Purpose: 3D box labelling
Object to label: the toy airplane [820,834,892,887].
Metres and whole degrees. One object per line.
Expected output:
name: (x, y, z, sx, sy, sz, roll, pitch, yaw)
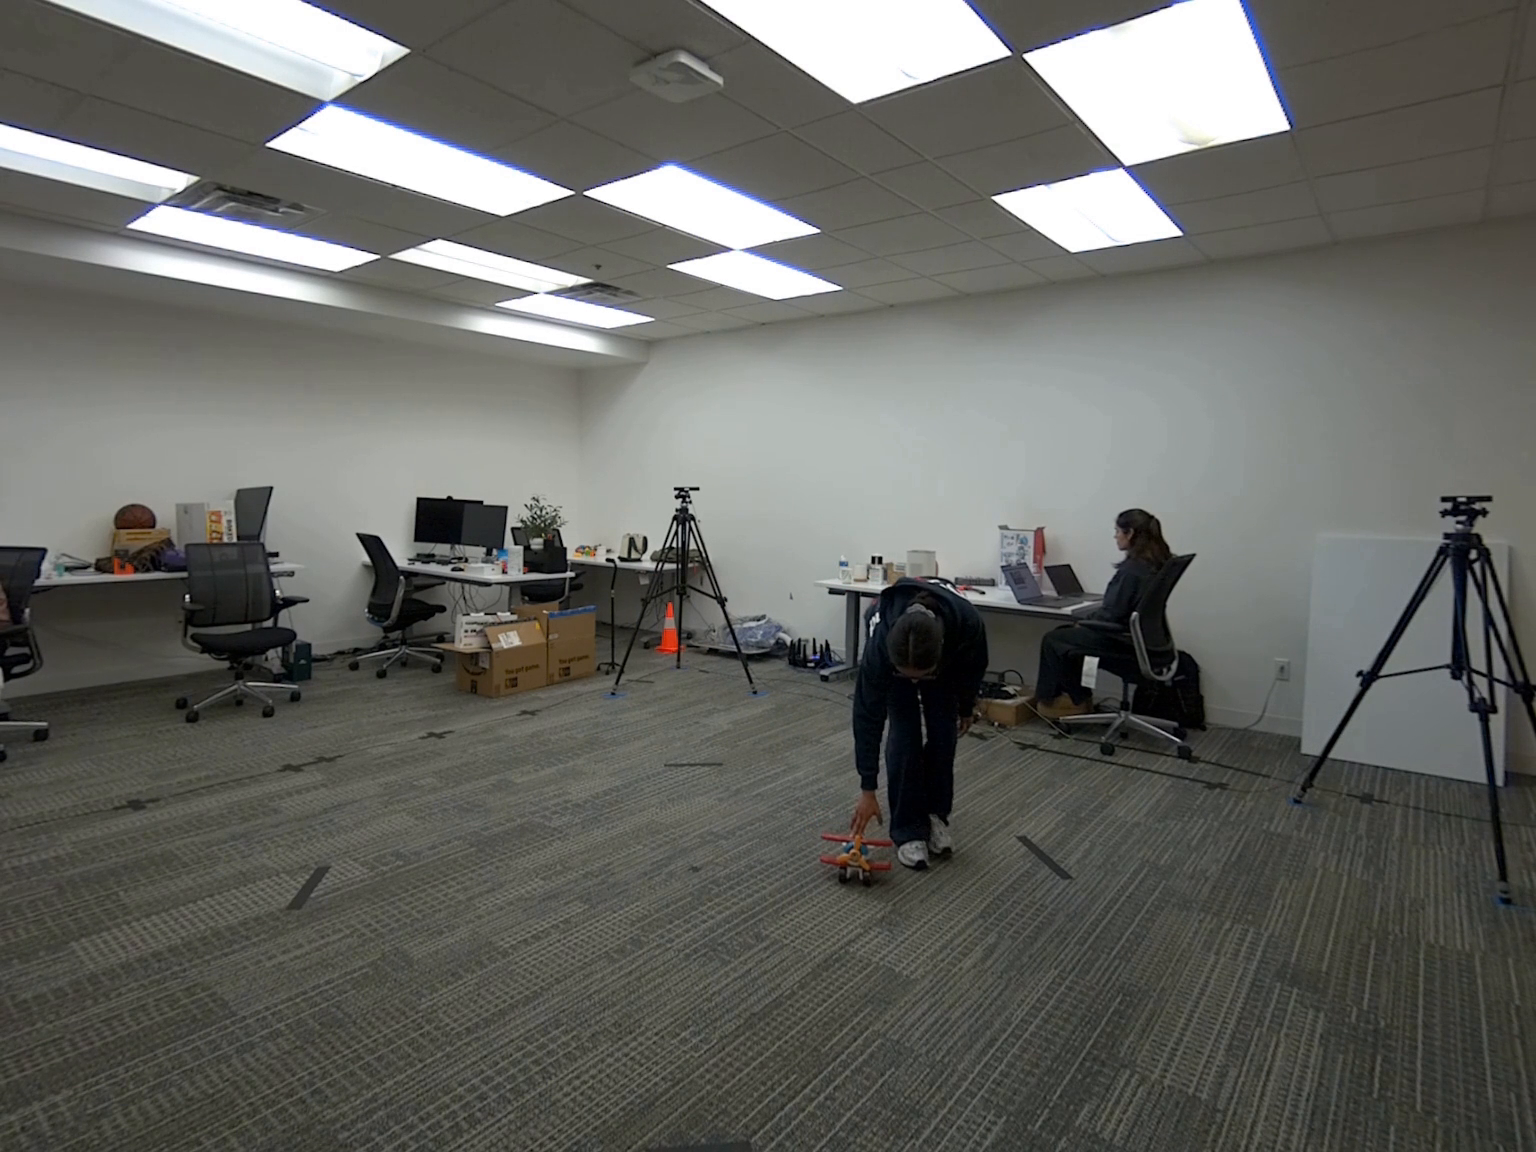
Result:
toy airplane: (0.292, 1.006, 3.102, 0.247, 0.156, 0.265, -1, 6, -17)
